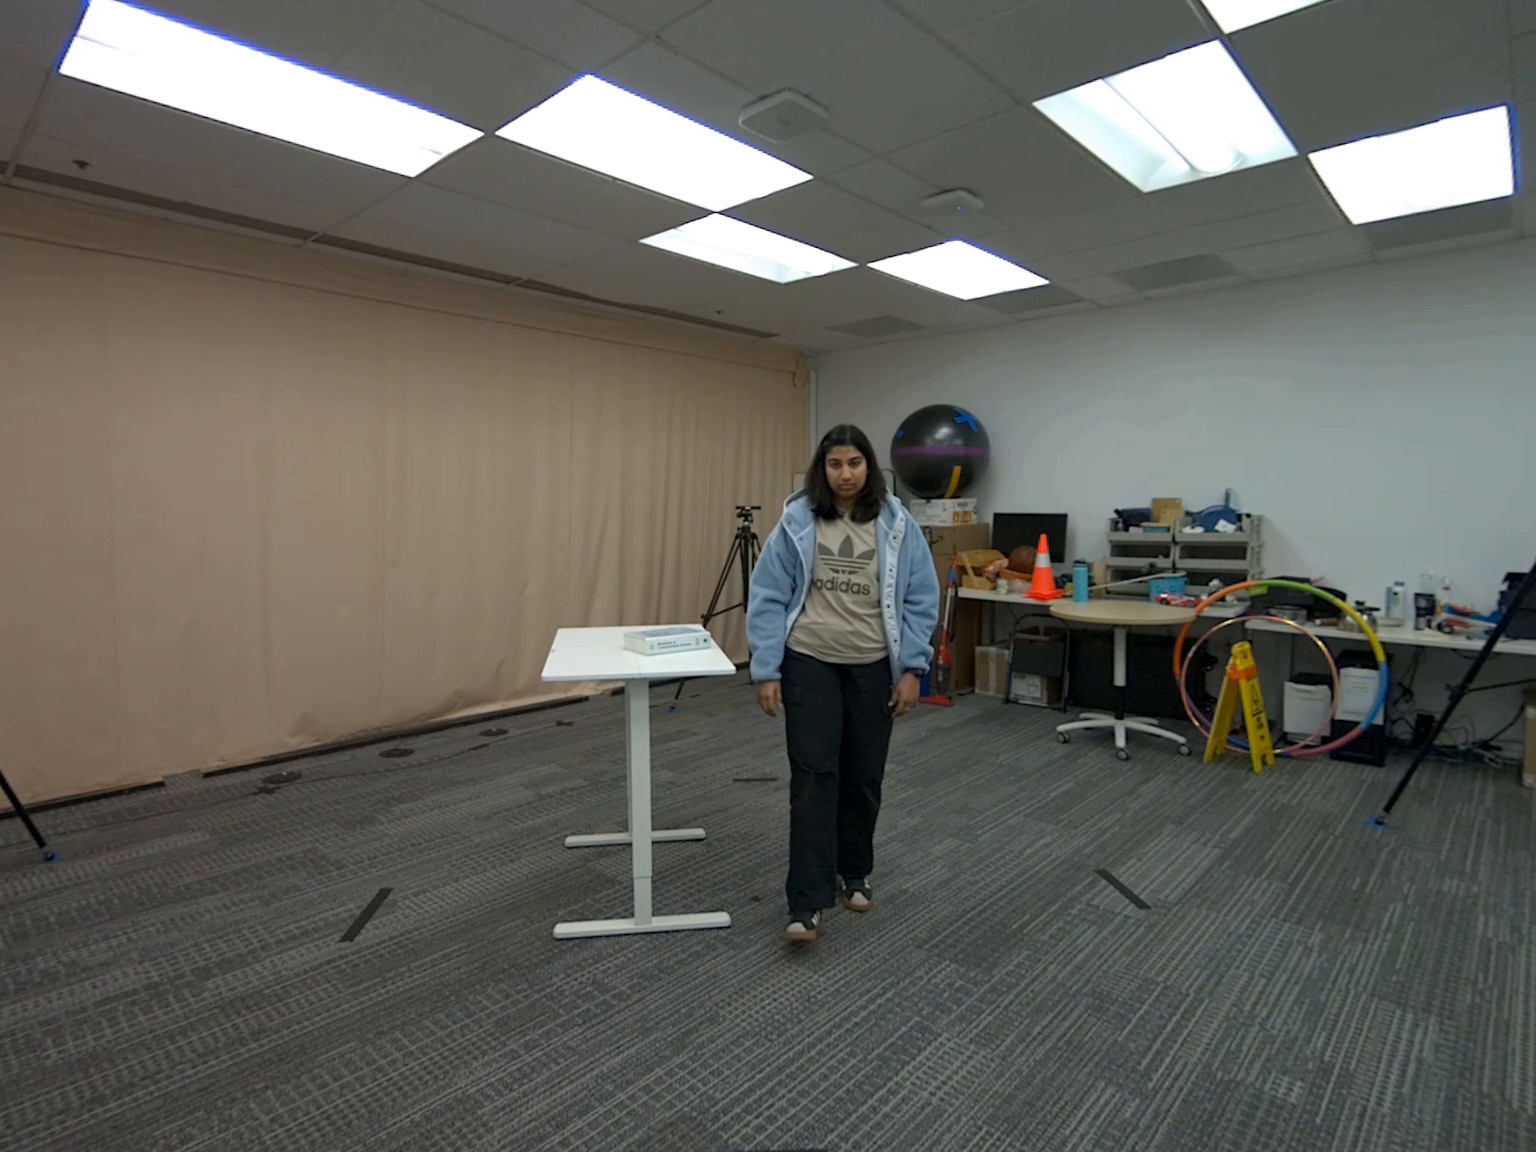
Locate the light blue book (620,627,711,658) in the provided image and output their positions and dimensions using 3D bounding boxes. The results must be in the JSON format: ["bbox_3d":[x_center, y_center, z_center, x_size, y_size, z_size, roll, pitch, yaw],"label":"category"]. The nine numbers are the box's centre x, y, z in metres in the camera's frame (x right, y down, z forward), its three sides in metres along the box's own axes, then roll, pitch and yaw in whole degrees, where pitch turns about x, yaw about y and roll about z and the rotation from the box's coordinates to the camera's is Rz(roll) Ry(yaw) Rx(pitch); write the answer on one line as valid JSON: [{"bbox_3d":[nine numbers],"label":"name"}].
[{"bbox_3d":[-0.368,0.234,3.029,0.254,0.059,0.197,-3,6,-33],"label":"light blue book"}]
